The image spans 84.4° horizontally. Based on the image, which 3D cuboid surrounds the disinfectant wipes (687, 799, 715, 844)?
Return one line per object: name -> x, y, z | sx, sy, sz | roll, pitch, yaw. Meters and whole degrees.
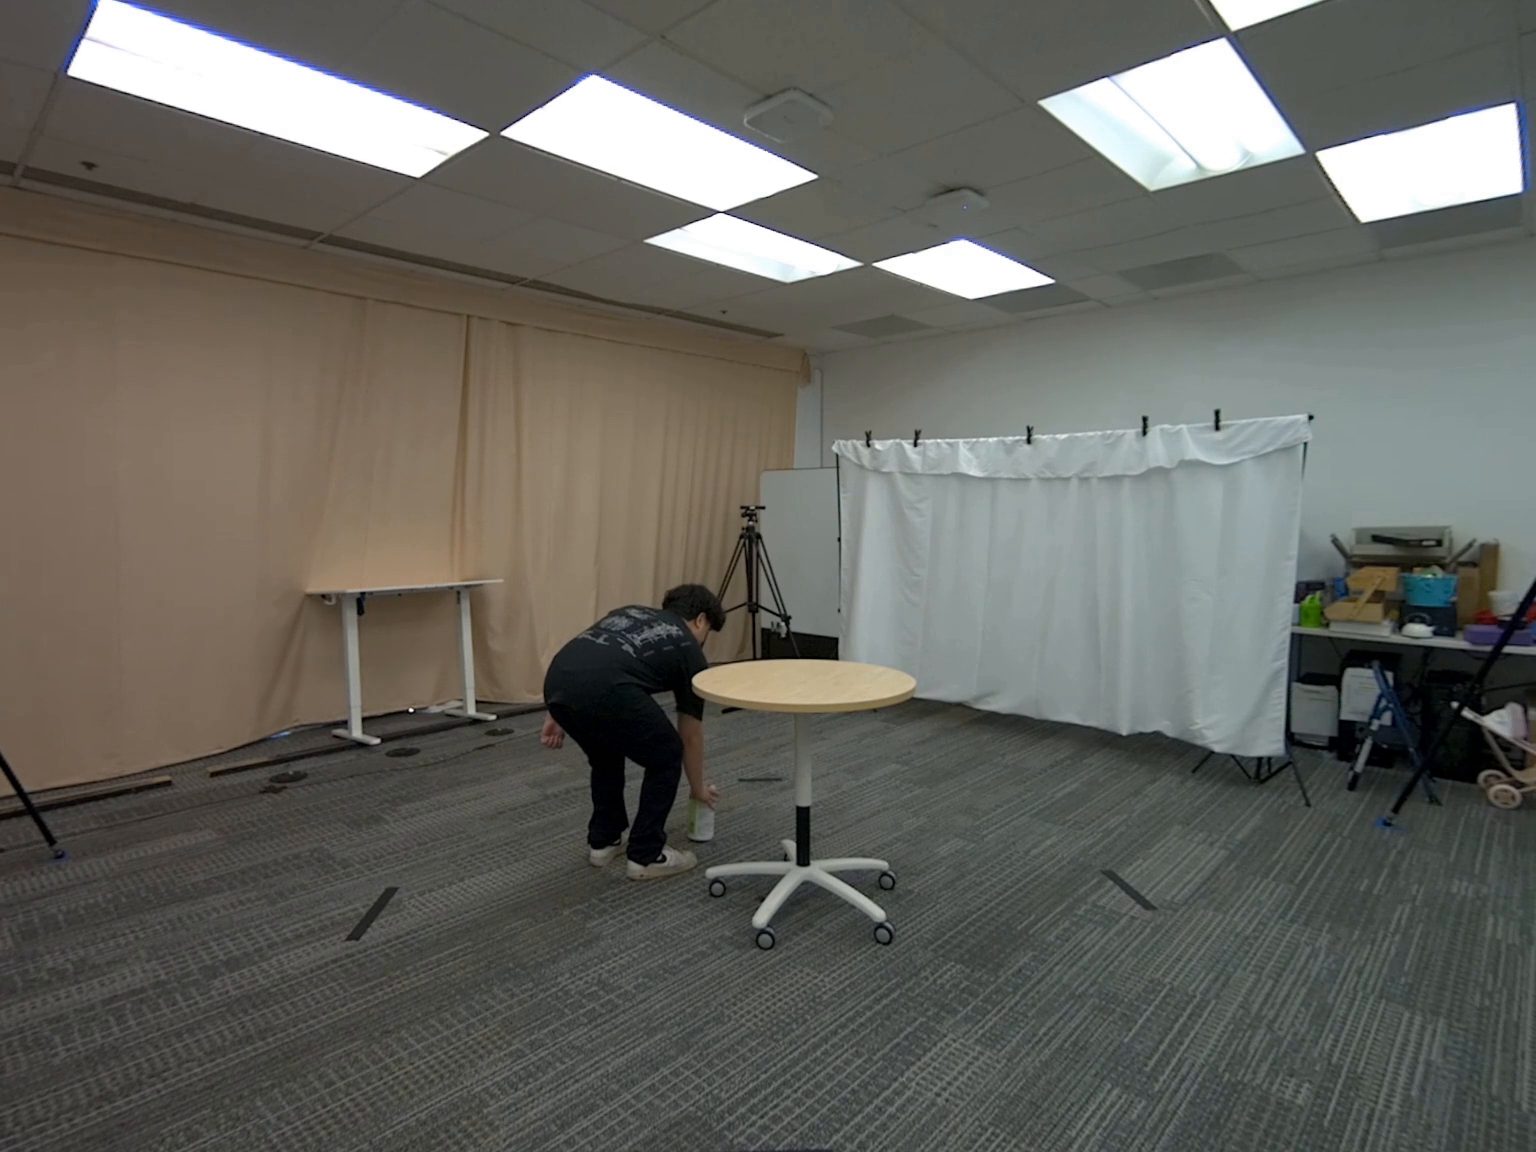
disinfectant wipes -> -0.276, 0.992, 3.542 | 0.118, 0.217, 0.118 | 0, -1, -2
